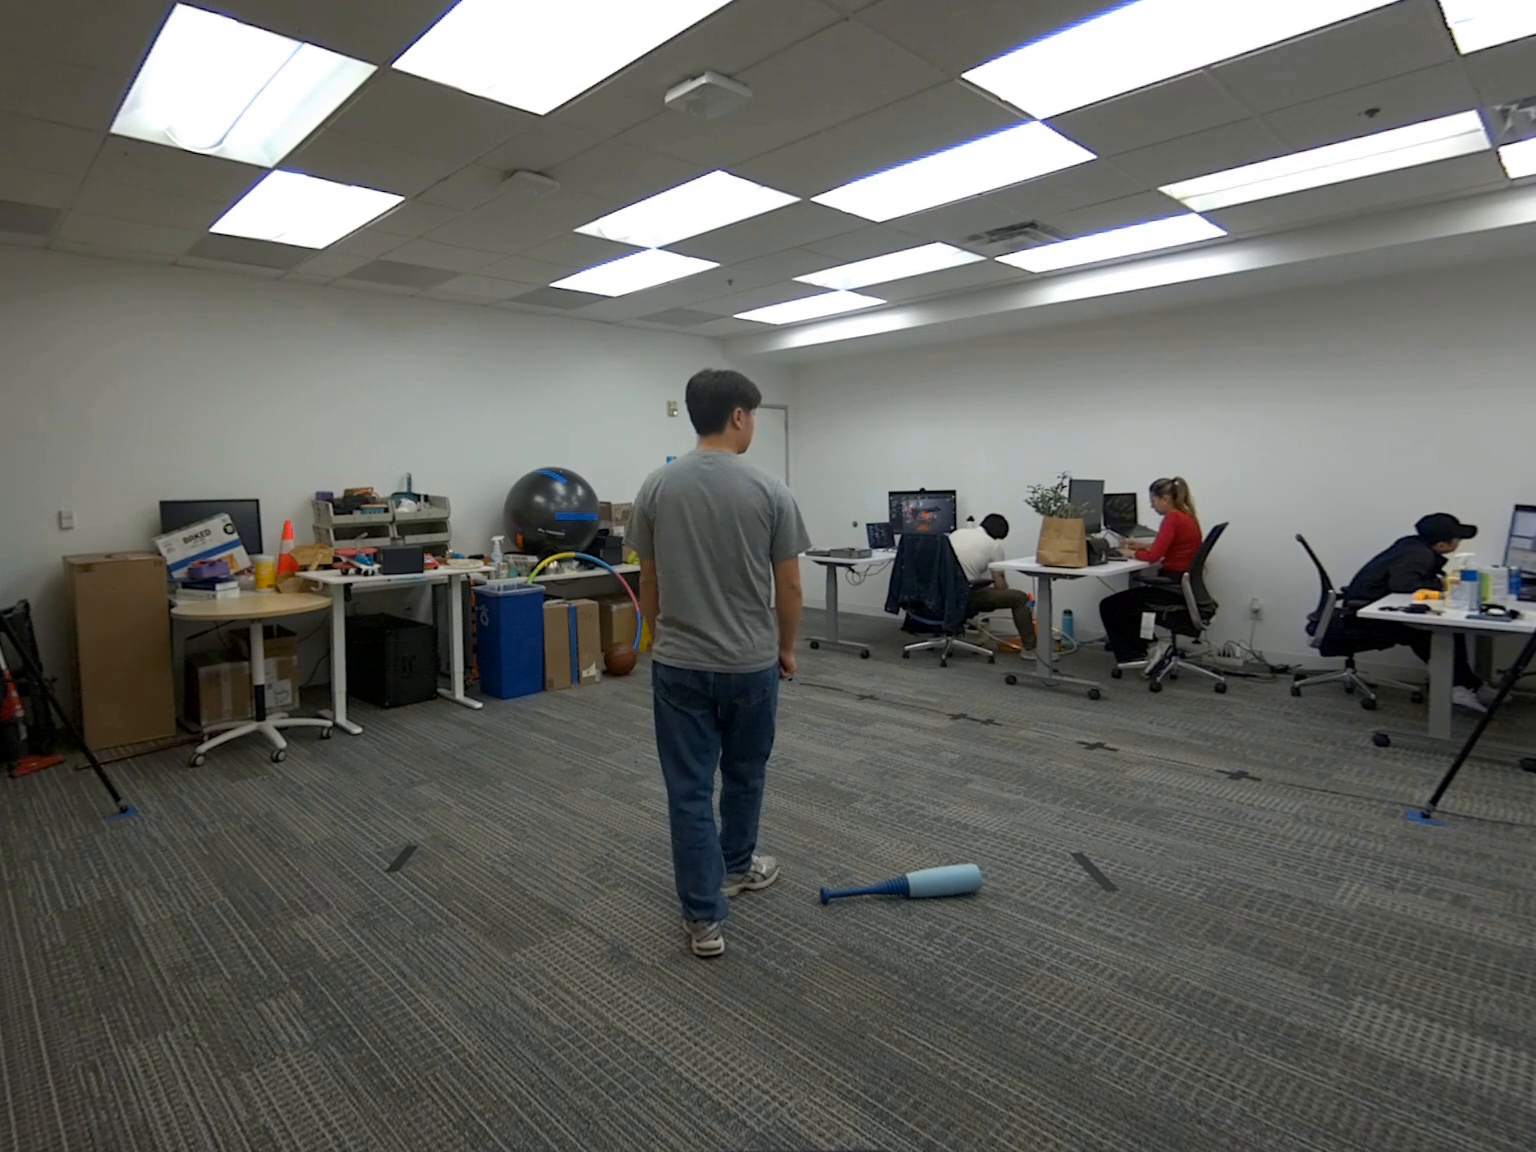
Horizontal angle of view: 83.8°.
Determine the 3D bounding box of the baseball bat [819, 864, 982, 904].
[{"bbox_3d":[0.442,1.030,2.833,0.541,0.089,0.090,-5,5,-4],"label":"baseball bat"}]
